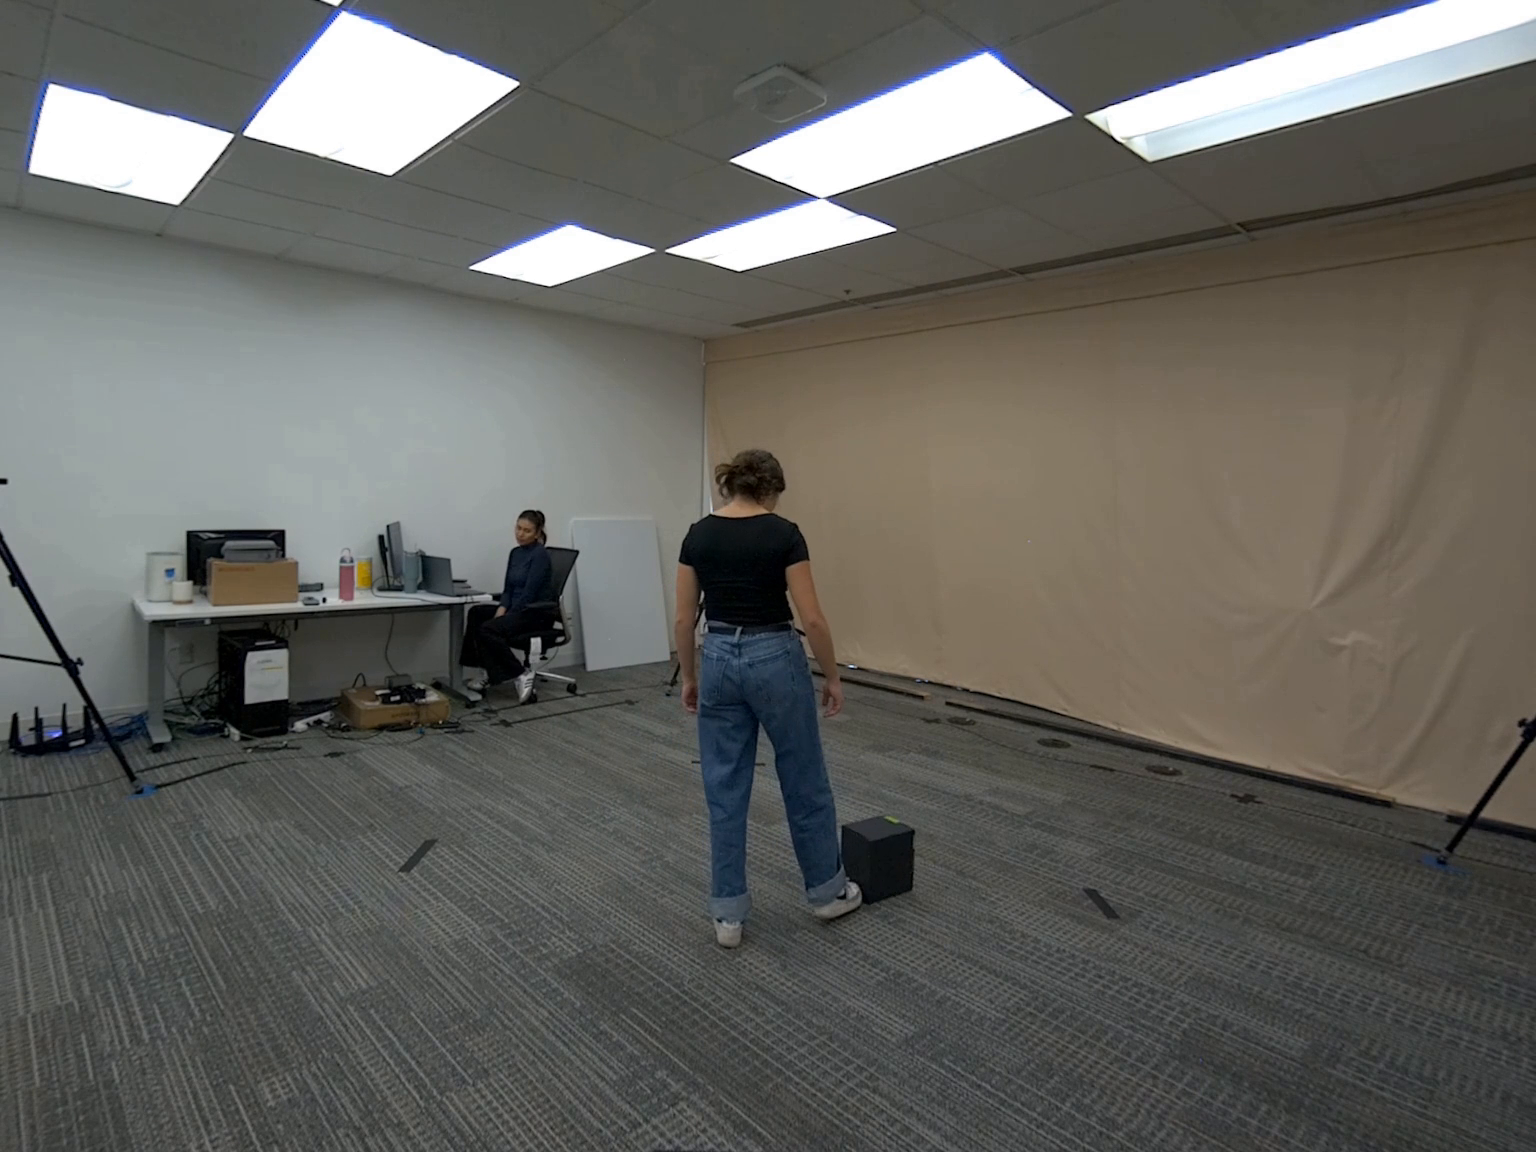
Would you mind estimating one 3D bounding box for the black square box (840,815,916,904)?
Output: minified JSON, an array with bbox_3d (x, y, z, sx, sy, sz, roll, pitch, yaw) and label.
[{"bbox_3d":[0.385,1.006,3.015,0.212,0.227,0.160,0,5,-35],"label":"black square box"}]
